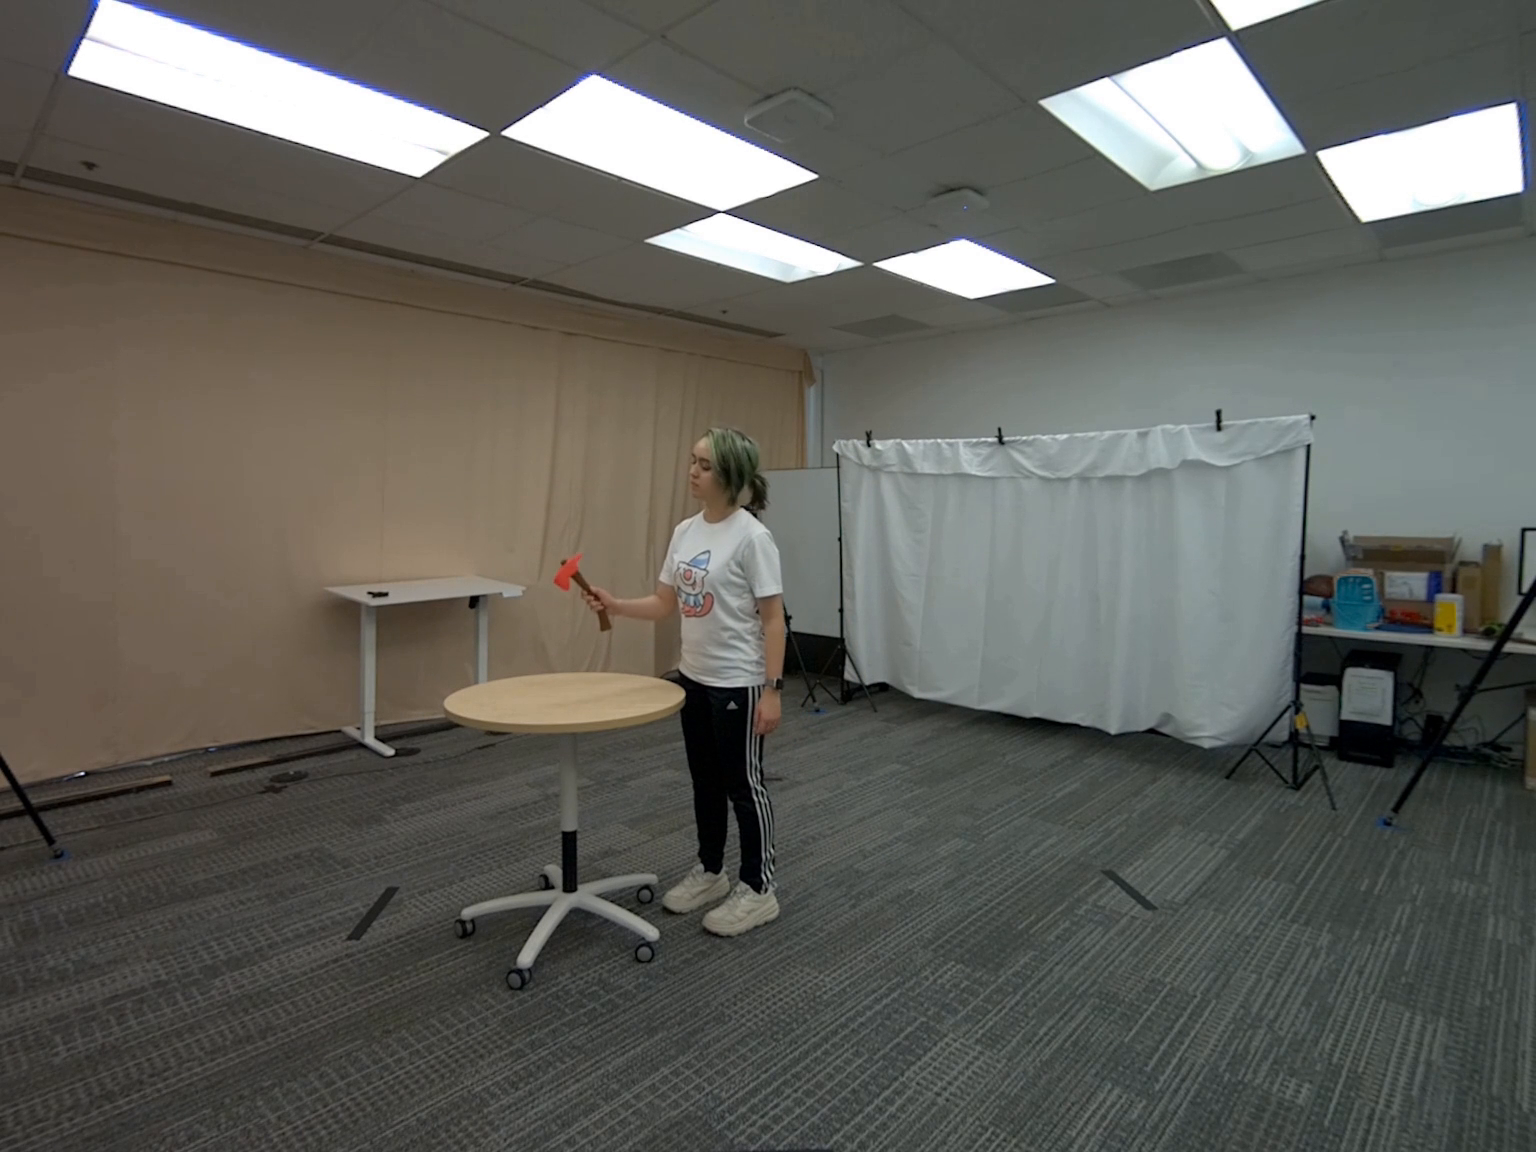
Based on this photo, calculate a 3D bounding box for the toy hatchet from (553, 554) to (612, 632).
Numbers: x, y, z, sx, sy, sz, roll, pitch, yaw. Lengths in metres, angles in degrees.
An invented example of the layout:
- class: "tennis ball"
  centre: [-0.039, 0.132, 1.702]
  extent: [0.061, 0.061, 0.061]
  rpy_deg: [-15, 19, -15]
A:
- class: "toy hatchet"
  centre: [-0.590, 0.072, 2.685]
  extent: [0.129, 0.267, 0.030]
  rpy_deg: [-28, 11, -35]
